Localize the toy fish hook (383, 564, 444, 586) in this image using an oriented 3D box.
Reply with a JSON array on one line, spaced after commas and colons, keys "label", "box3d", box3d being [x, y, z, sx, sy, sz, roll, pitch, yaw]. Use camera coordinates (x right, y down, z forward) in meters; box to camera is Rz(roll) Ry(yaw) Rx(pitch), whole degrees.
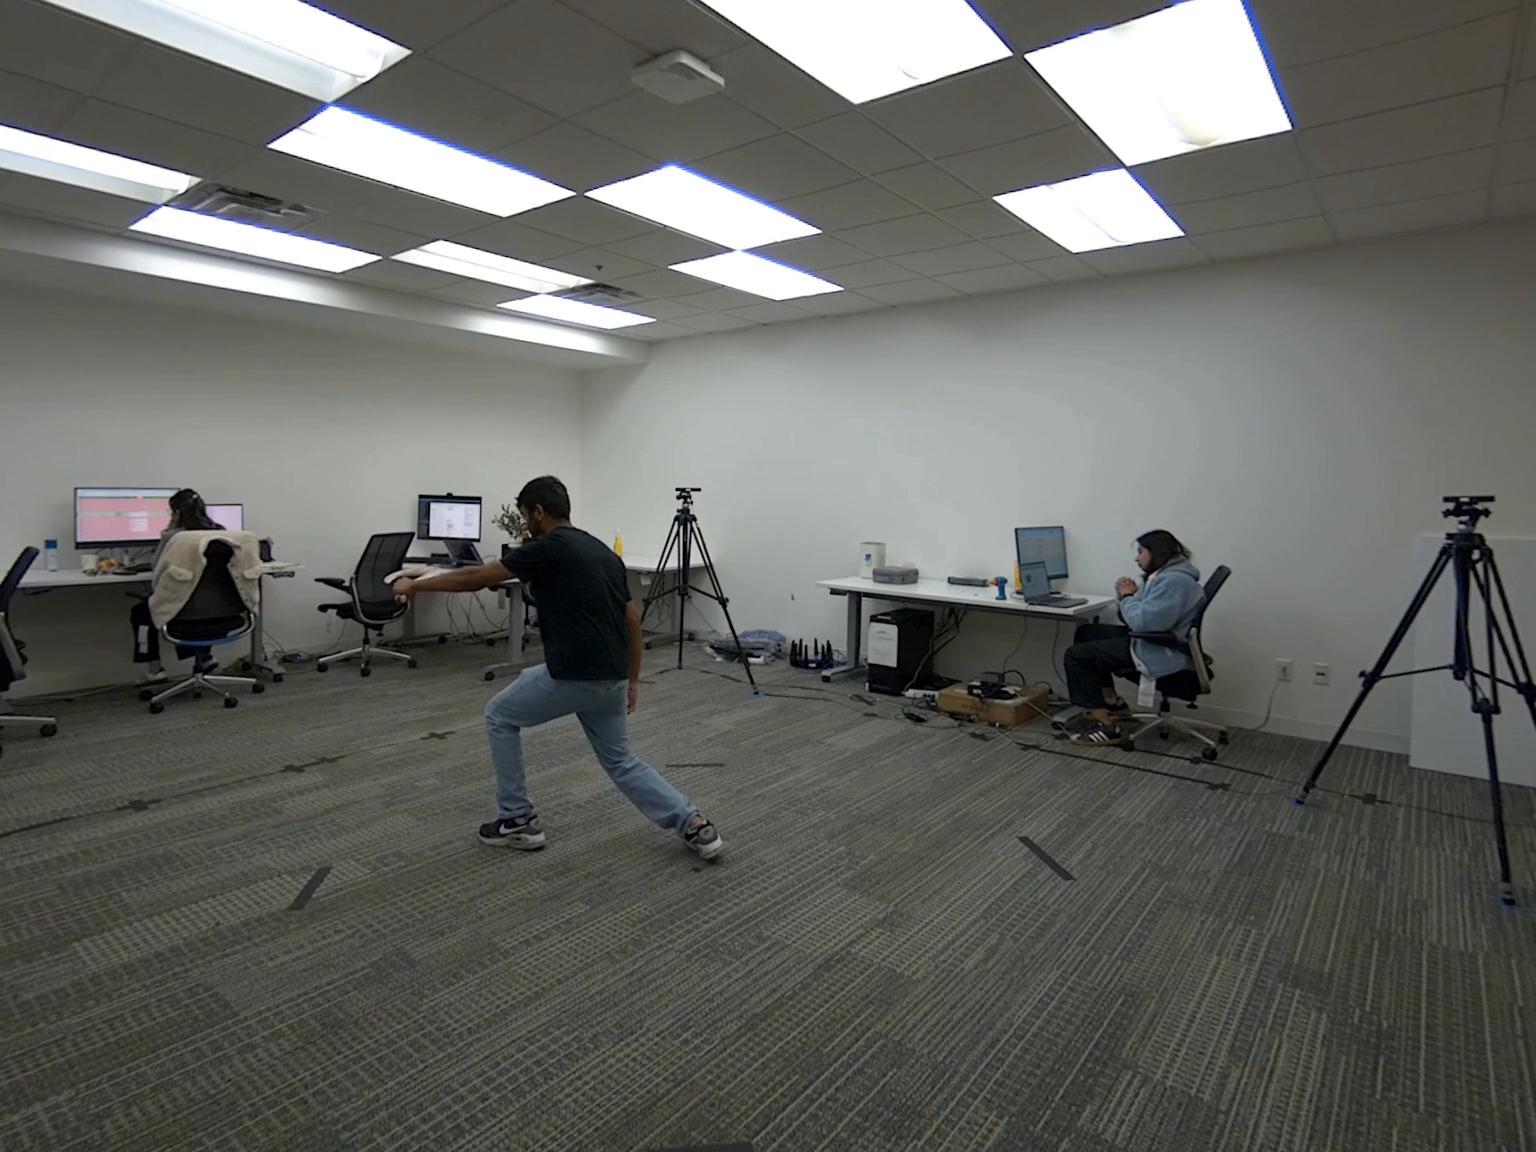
[{"label": "toy fish hook", "box3d": [-1.513, 0.031, 3.472, 0.222, 0.048, 0.518, -12, 13, -13]}]
